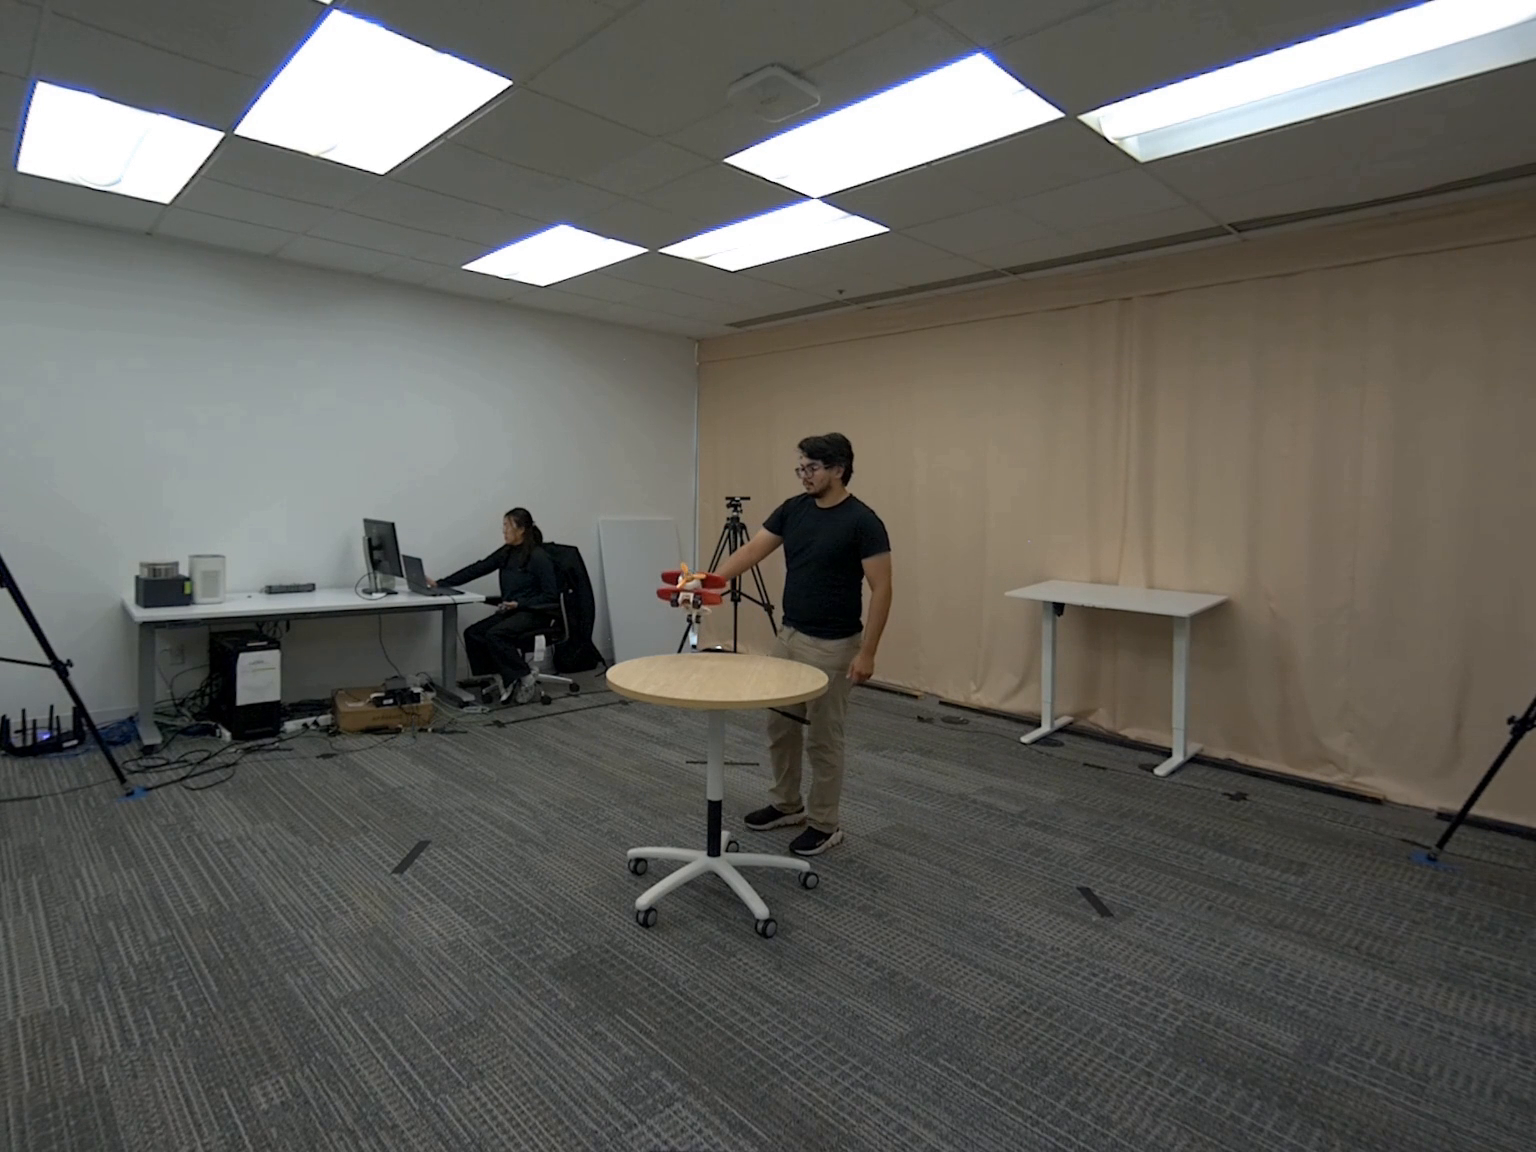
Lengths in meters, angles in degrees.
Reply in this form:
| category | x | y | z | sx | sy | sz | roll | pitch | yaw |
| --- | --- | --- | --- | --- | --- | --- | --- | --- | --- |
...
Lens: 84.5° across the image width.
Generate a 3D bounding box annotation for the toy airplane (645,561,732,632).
| category | x | y | z | sx | sy | sz | roll | pitch | yaw |
| --- | --- | --- | --- | --- | --- | --- | --- | --- | --- |
| toy airplane | -0.309 | 0.082 | 3.251 | 0.248 | 0.158 | 0.260 | 15 | -21 | -15 |
